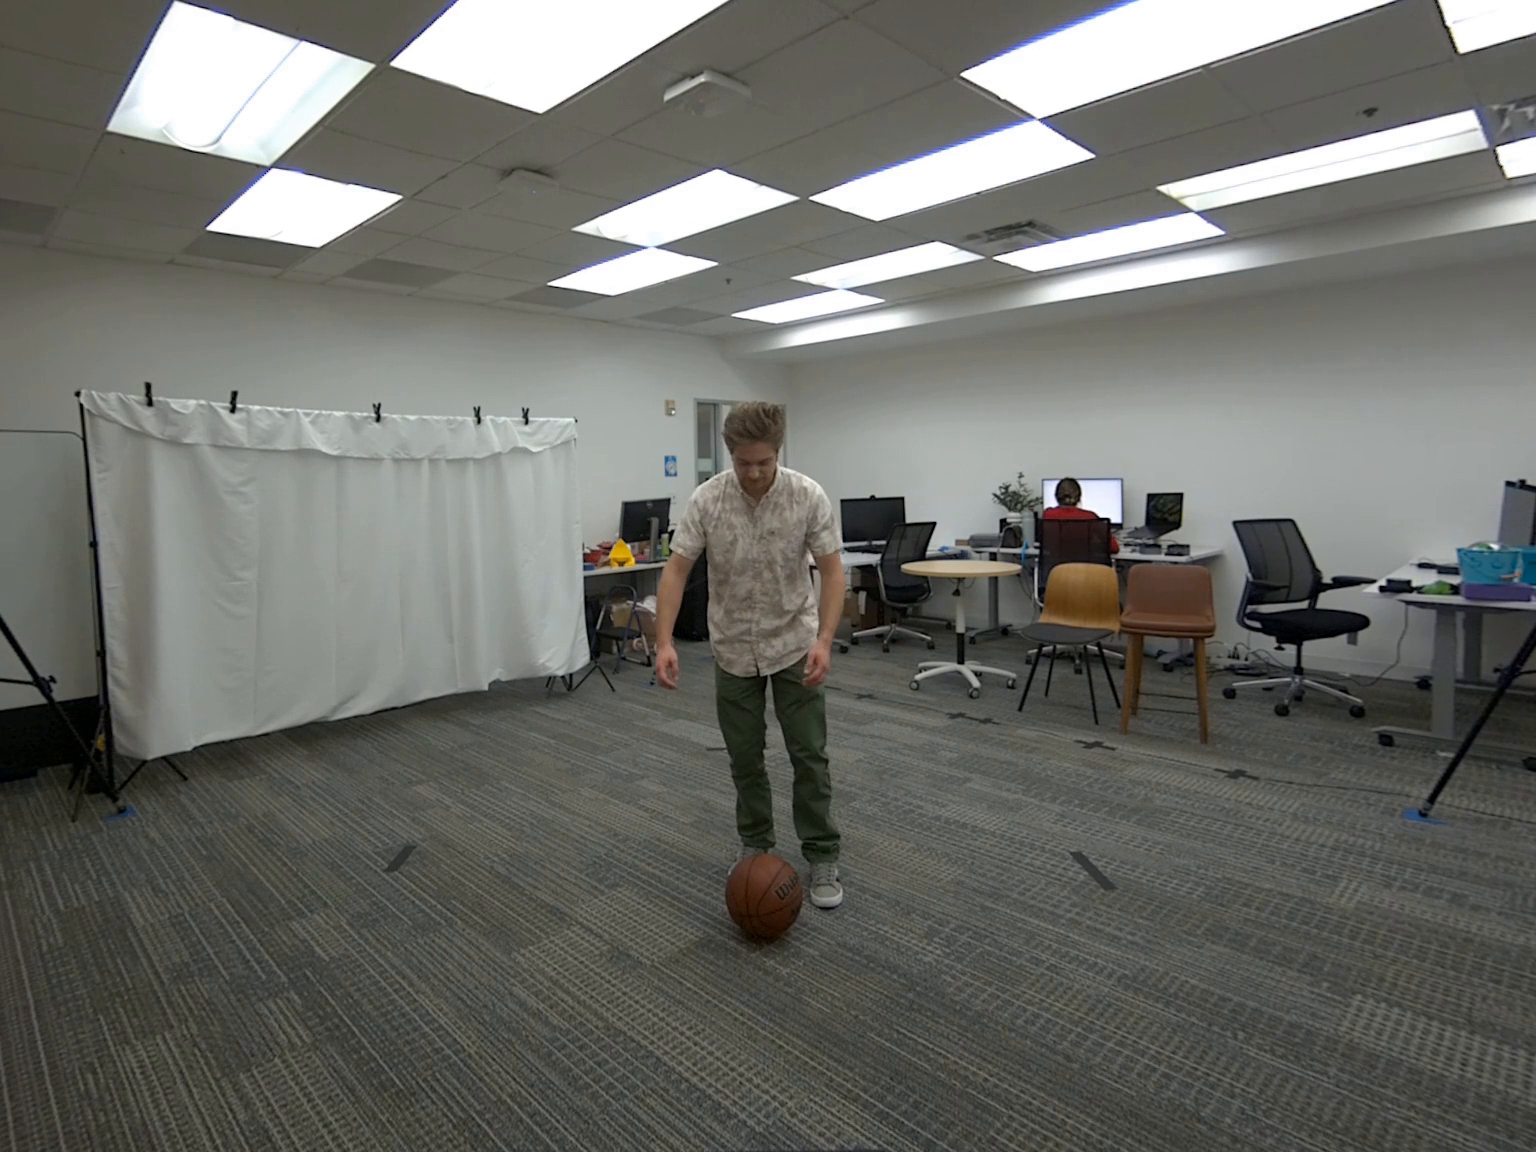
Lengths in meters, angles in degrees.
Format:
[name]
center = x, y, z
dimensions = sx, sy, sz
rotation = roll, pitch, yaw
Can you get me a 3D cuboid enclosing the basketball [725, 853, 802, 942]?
[basketball]
center = -0.011, 0.976, 2.627
dimensions = 0.236, 0.235, 0.237
rotation = -1, 5, -2
